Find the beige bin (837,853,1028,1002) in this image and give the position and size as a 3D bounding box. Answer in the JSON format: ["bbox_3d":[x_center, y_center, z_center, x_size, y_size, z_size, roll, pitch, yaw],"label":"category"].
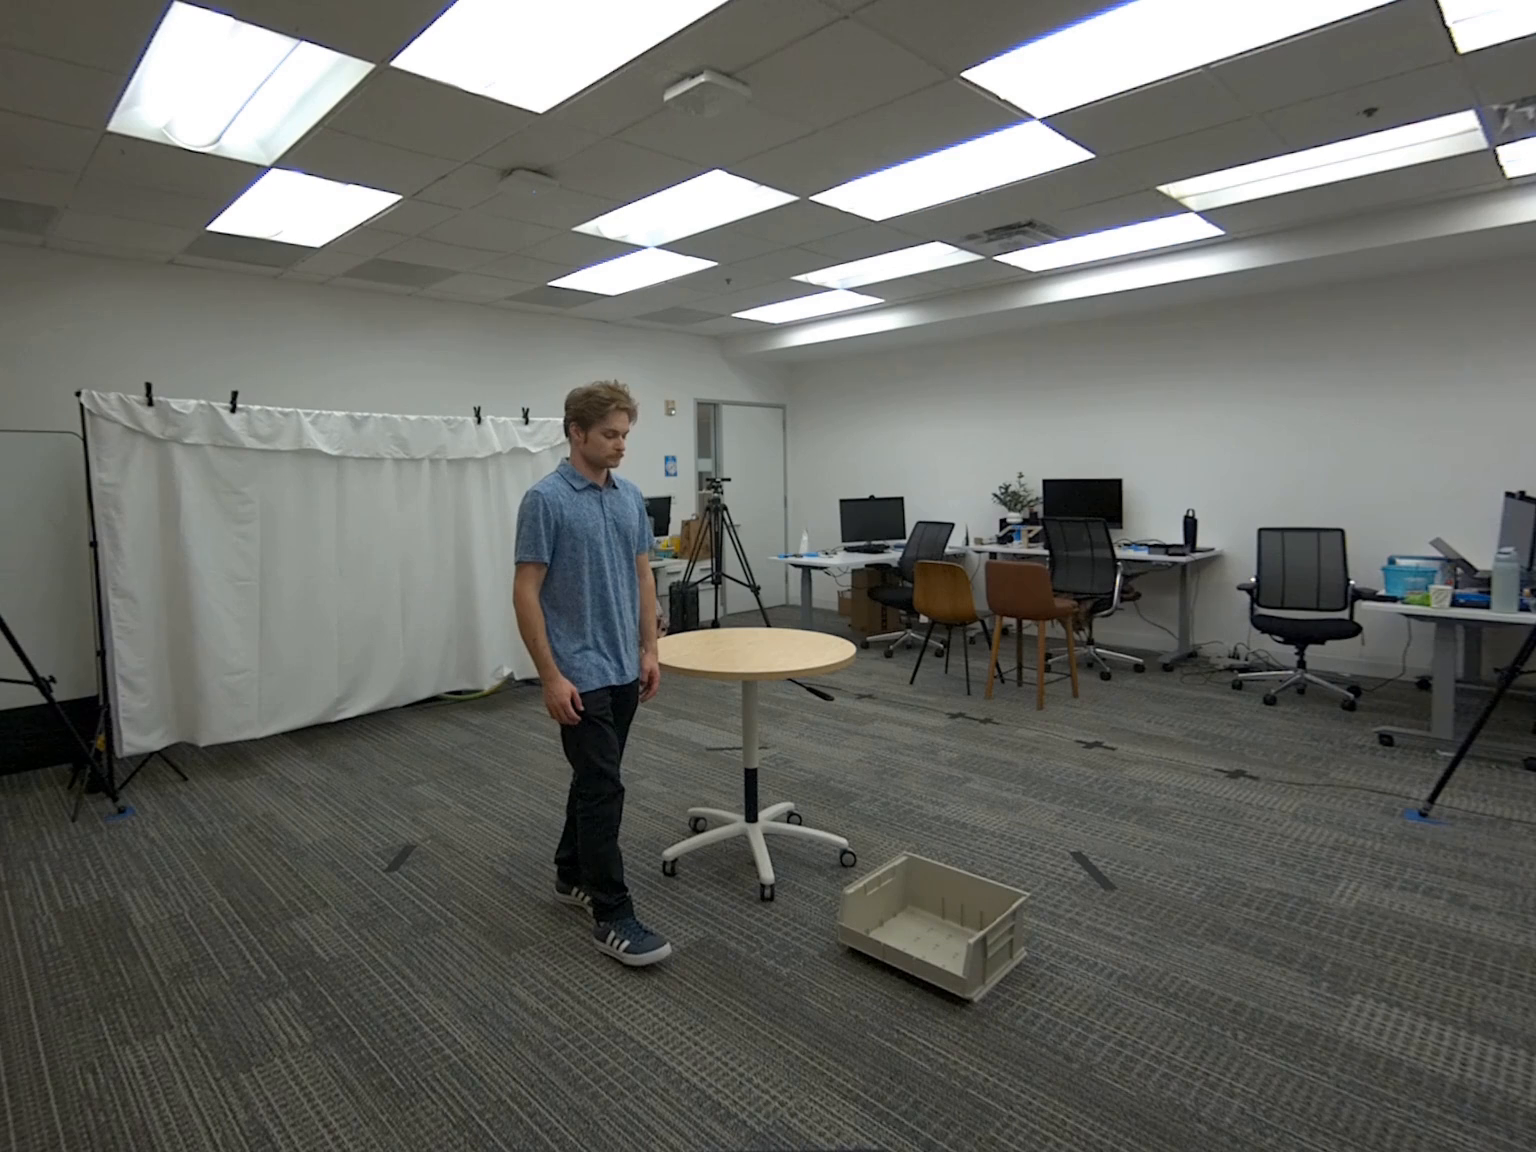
[{"bbox_3d":[0.485,1.015,2.491,0.435,0.188,0.367,3,7,42],"label":"beige bin"}]
